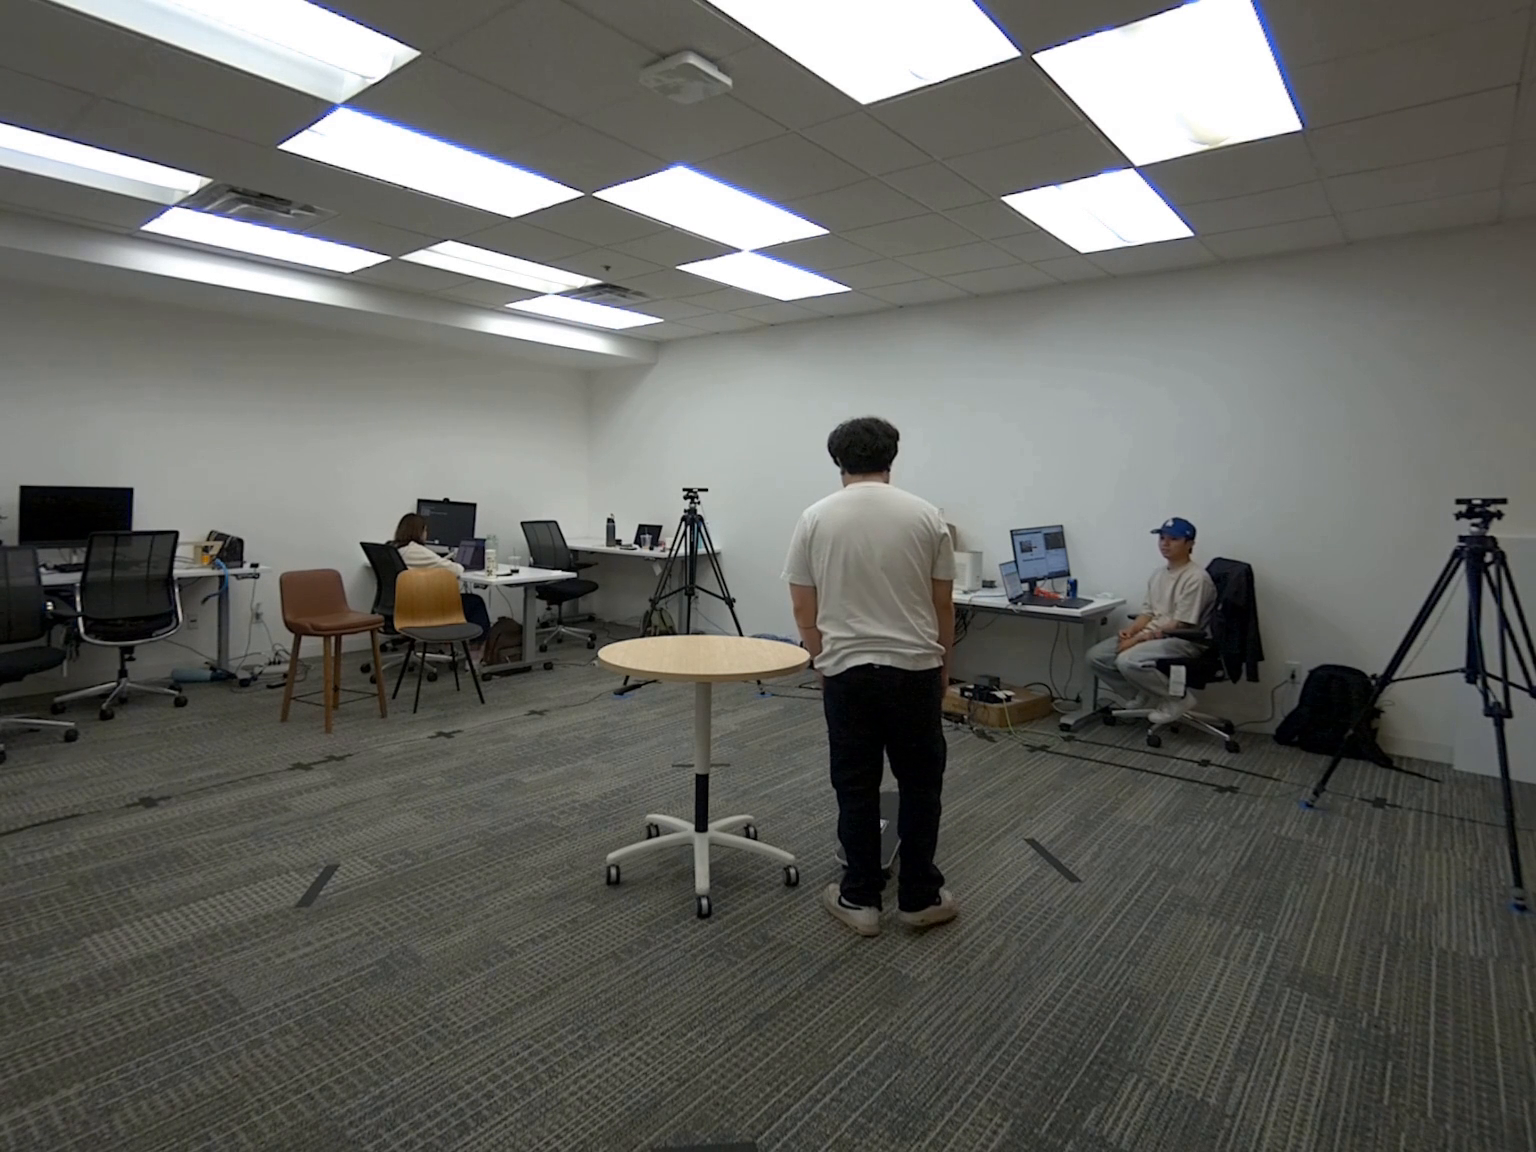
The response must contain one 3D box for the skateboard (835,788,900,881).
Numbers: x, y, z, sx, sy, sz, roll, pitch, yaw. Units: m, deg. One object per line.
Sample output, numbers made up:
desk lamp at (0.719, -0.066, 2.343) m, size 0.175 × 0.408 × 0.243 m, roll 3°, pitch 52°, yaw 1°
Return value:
skateboard at (0.421, 1.007, 3.294) m, size 0.197 × 0.110 × 0.772 m, roll 3°, pitch 6°, yaw 18°
